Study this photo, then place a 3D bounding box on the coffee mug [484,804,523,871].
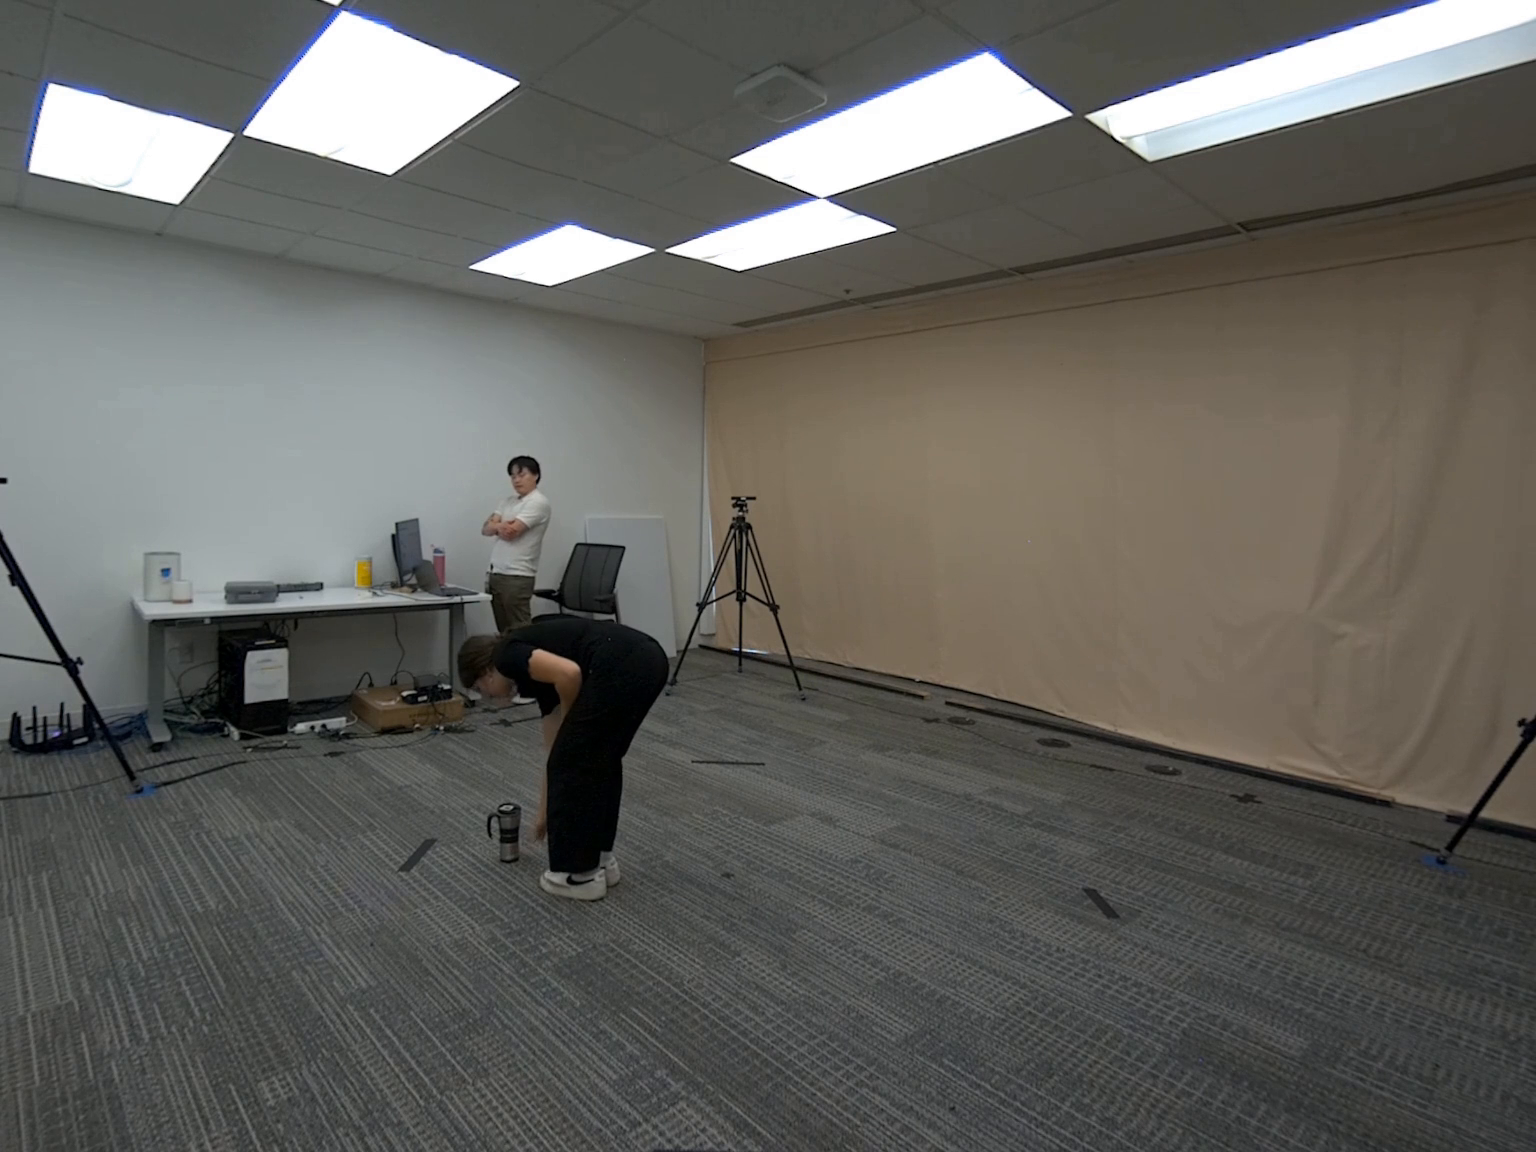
[{"bbox_3d":[-0.998,0.980,3.183,0.120,0.202,0.090,1,6,-25],"label":"coffee mug"}]
